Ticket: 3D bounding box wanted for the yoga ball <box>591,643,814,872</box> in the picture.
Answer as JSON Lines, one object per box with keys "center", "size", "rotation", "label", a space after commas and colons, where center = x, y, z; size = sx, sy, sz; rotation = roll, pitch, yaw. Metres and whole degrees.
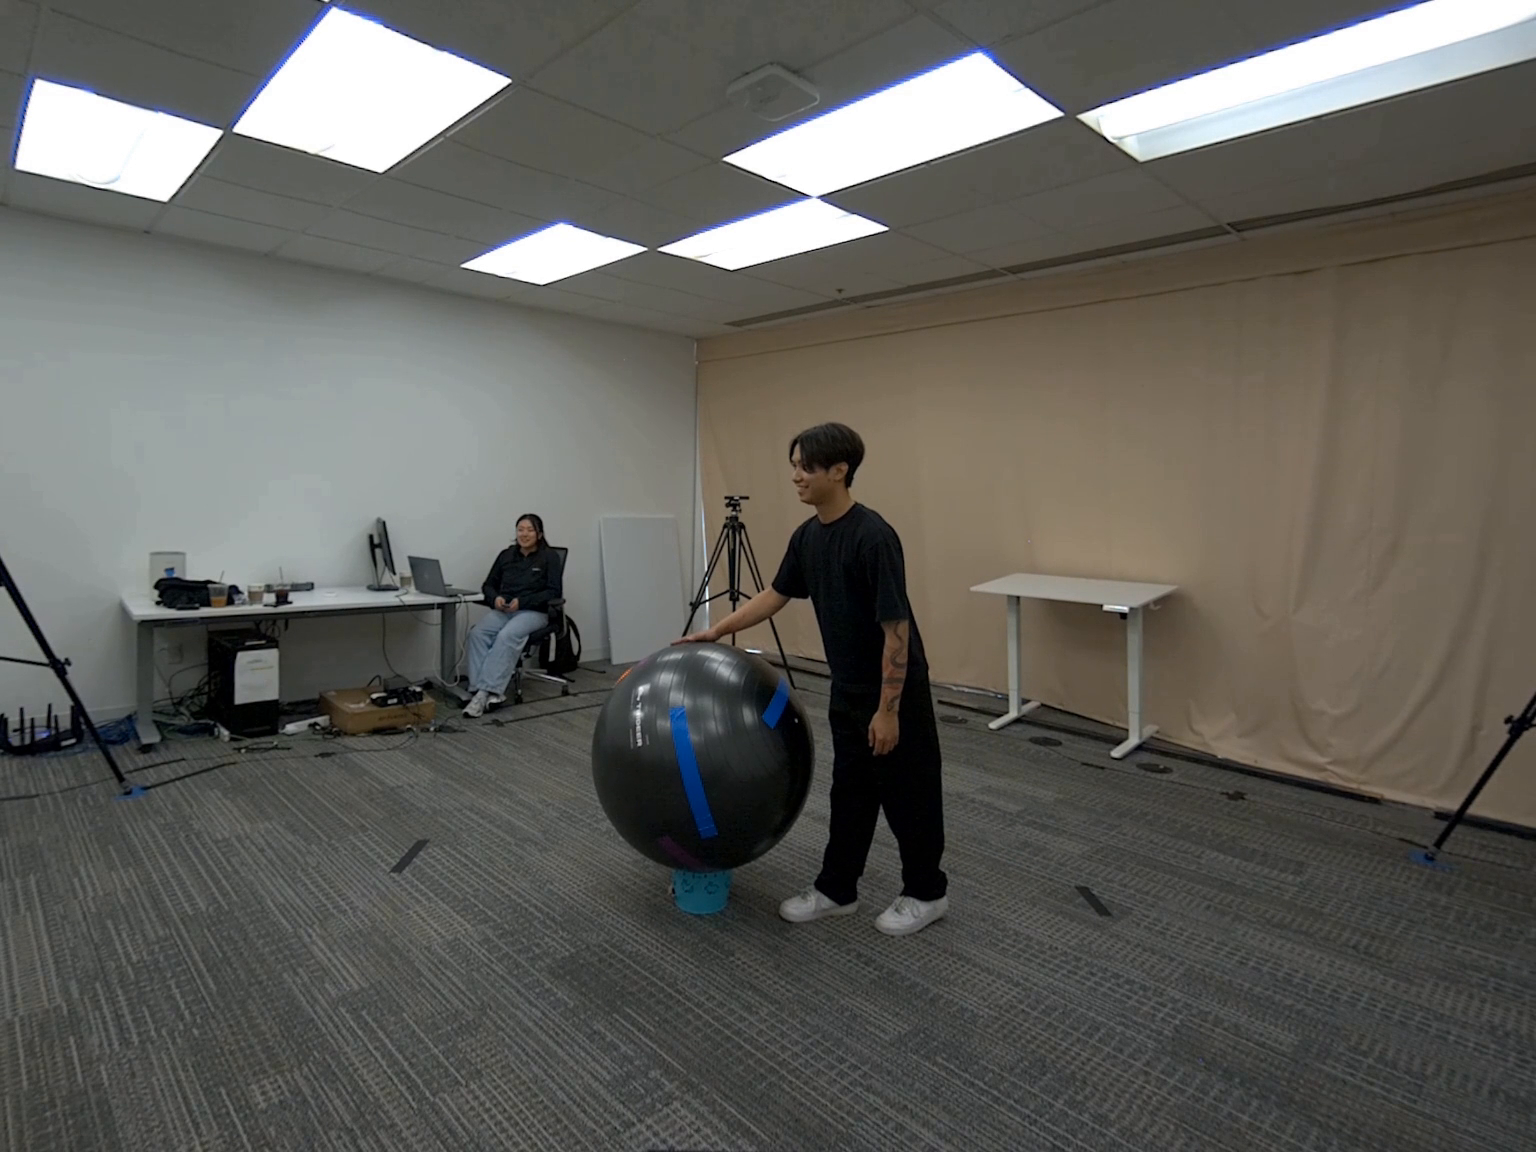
{"center": [-0.232, 0.611, 2.877], "size": [0.757, 0.756, 0.761], "rotation": [1, 4, -1], "label": "yoga ball"}
